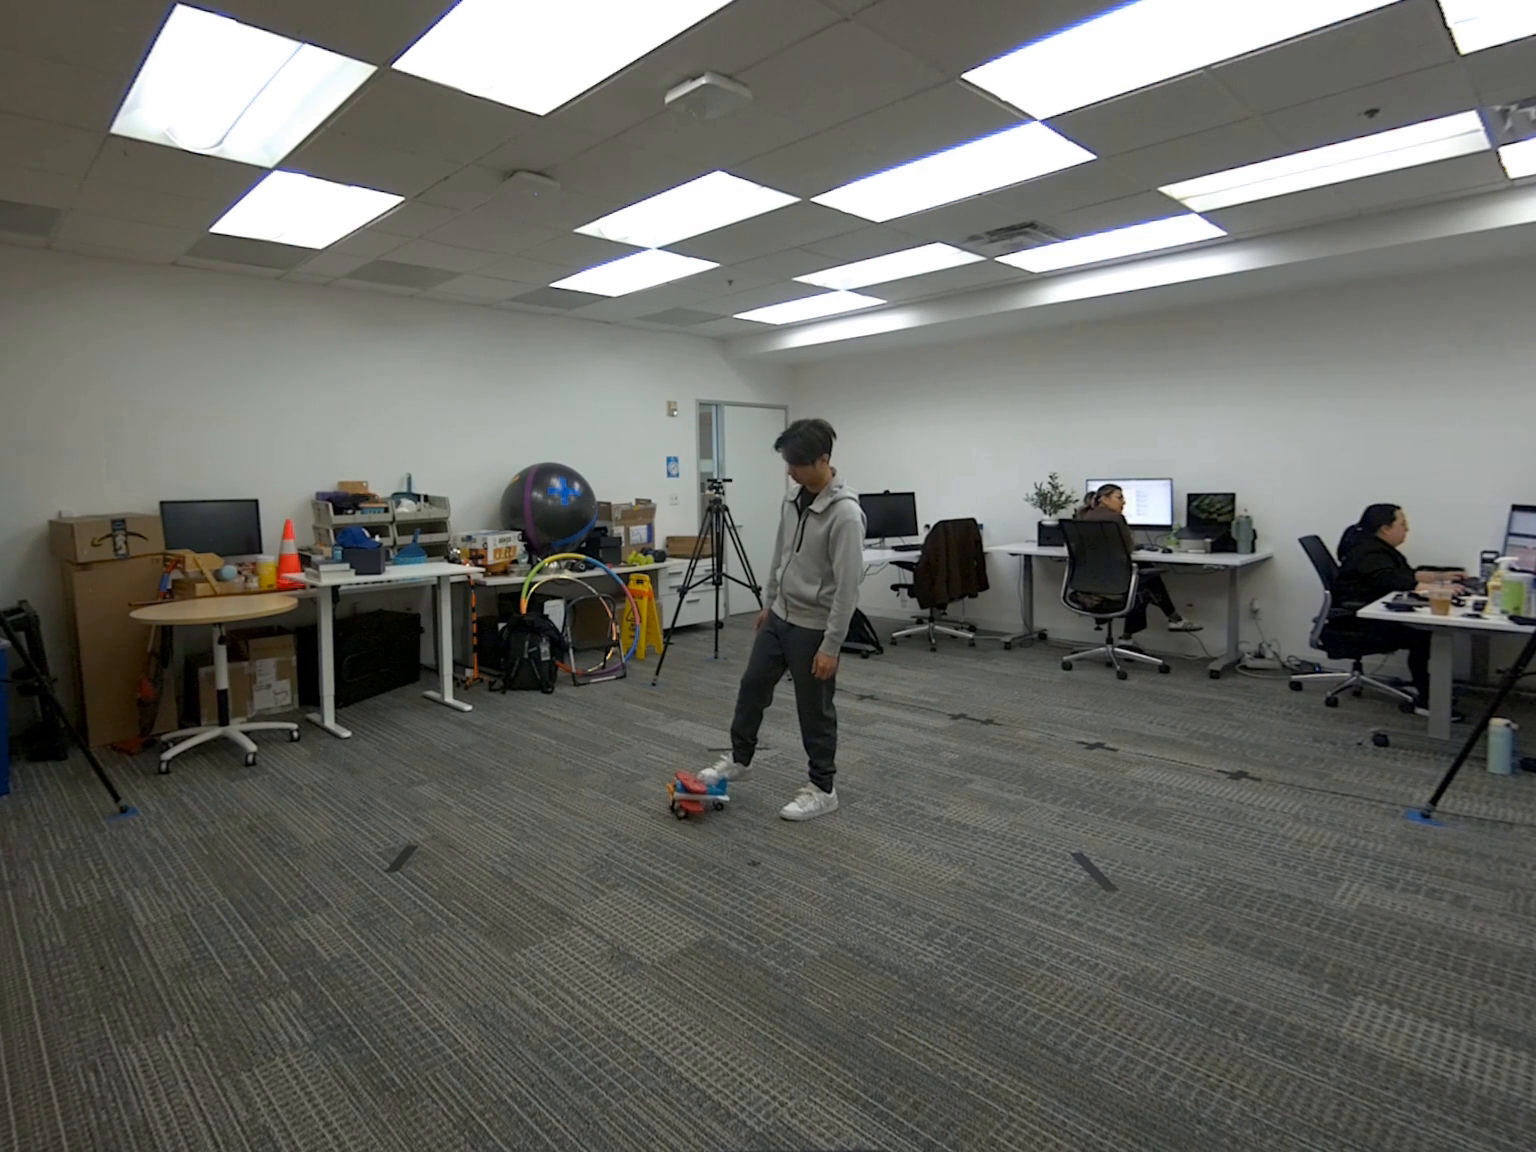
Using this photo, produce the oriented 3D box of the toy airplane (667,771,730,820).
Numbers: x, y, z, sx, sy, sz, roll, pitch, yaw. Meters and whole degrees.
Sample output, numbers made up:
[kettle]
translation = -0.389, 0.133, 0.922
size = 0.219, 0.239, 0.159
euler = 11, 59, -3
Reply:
[toy airplane]
translation = -0.300, 0.919, 3.608
size = 0.258, 0.156, 0.253
euler = 2, 7, 42
